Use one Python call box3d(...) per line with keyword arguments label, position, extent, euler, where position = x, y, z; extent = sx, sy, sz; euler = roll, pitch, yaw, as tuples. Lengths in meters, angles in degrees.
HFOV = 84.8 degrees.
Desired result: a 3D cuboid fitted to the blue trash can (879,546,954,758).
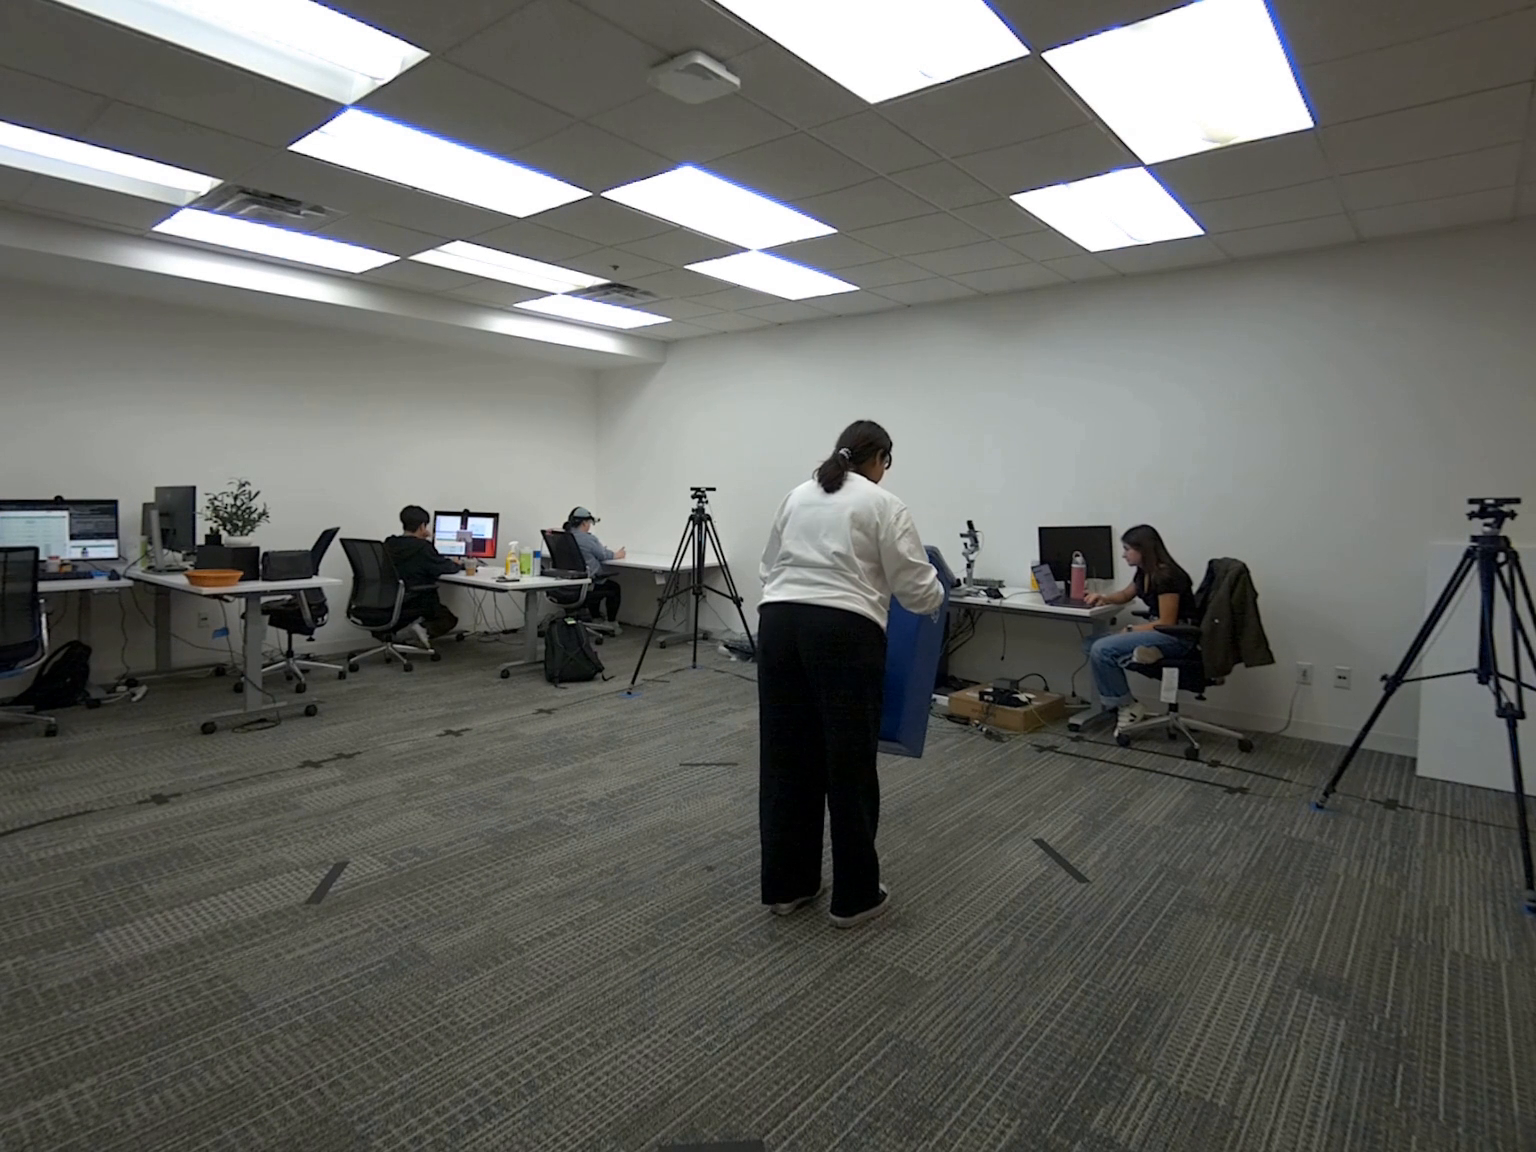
box3d(label="blue trash can", position=(0.438, 0.274, 3.181), extent=(0.389, 0.722, 0.359), euler=(2, -20, 28))
